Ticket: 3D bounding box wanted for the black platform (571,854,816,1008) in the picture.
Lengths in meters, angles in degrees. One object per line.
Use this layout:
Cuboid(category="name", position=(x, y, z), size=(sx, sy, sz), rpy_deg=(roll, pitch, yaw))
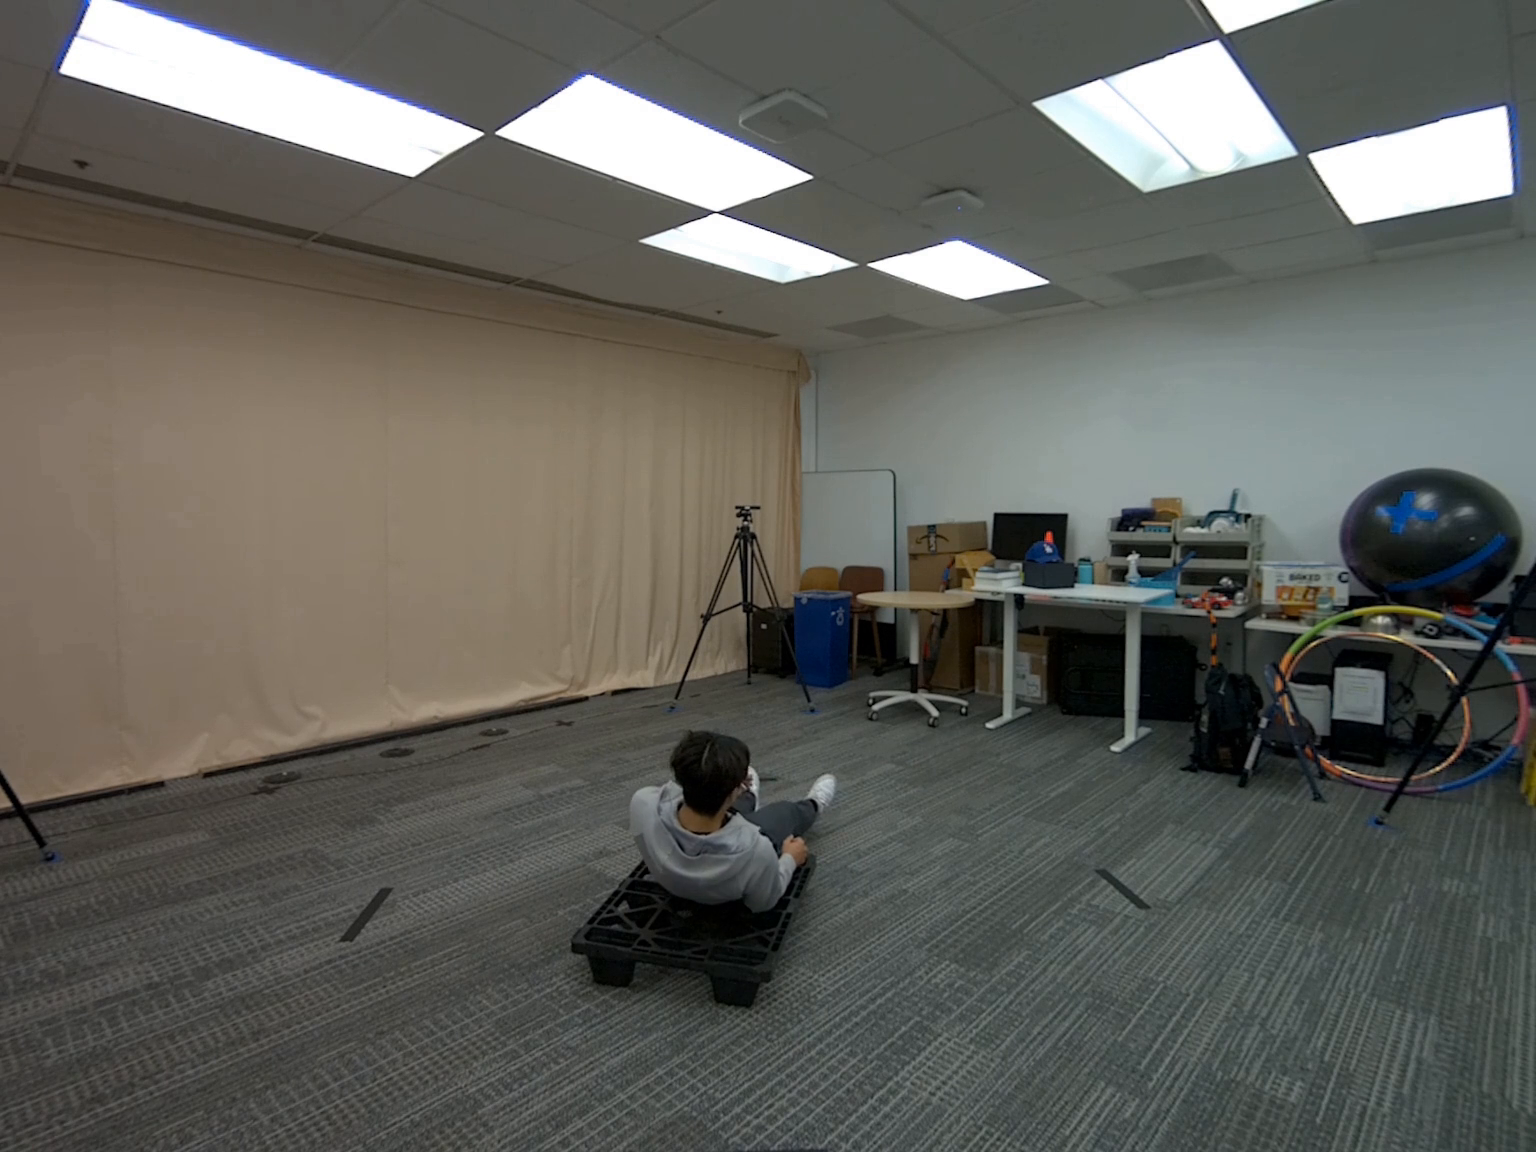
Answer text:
Cuboid(category="black platform", position=(-0.194, 1.092, 2.746), size=(0.615, 0.143, 0.794), rpy_deg=(2, 5, 14))
